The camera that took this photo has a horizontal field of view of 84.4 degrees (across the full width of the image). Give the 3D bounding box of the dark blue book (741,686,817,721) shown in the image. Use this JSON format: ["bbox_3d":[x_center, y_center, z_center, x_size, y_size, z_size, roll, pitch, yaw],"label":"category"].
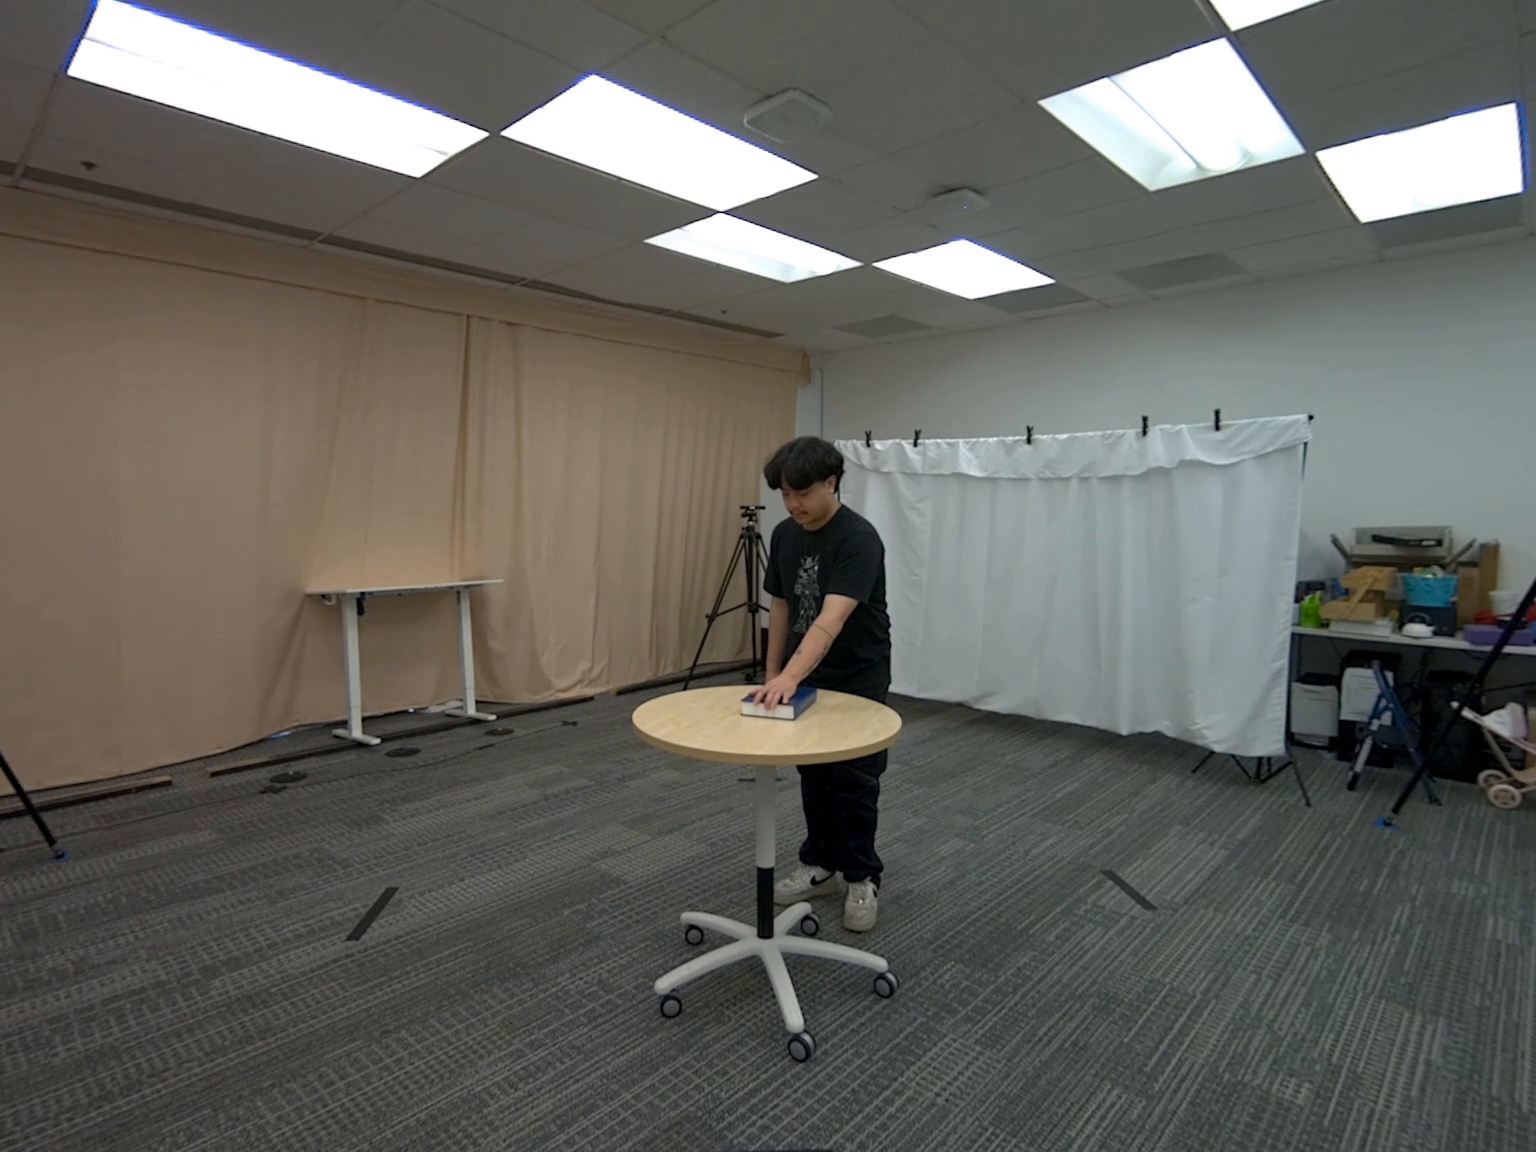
[{"bbox_3d":[0.032,0.375,2.490,0.167,0.045,0.241,3,6,19],"label":"dark blue book"}]
